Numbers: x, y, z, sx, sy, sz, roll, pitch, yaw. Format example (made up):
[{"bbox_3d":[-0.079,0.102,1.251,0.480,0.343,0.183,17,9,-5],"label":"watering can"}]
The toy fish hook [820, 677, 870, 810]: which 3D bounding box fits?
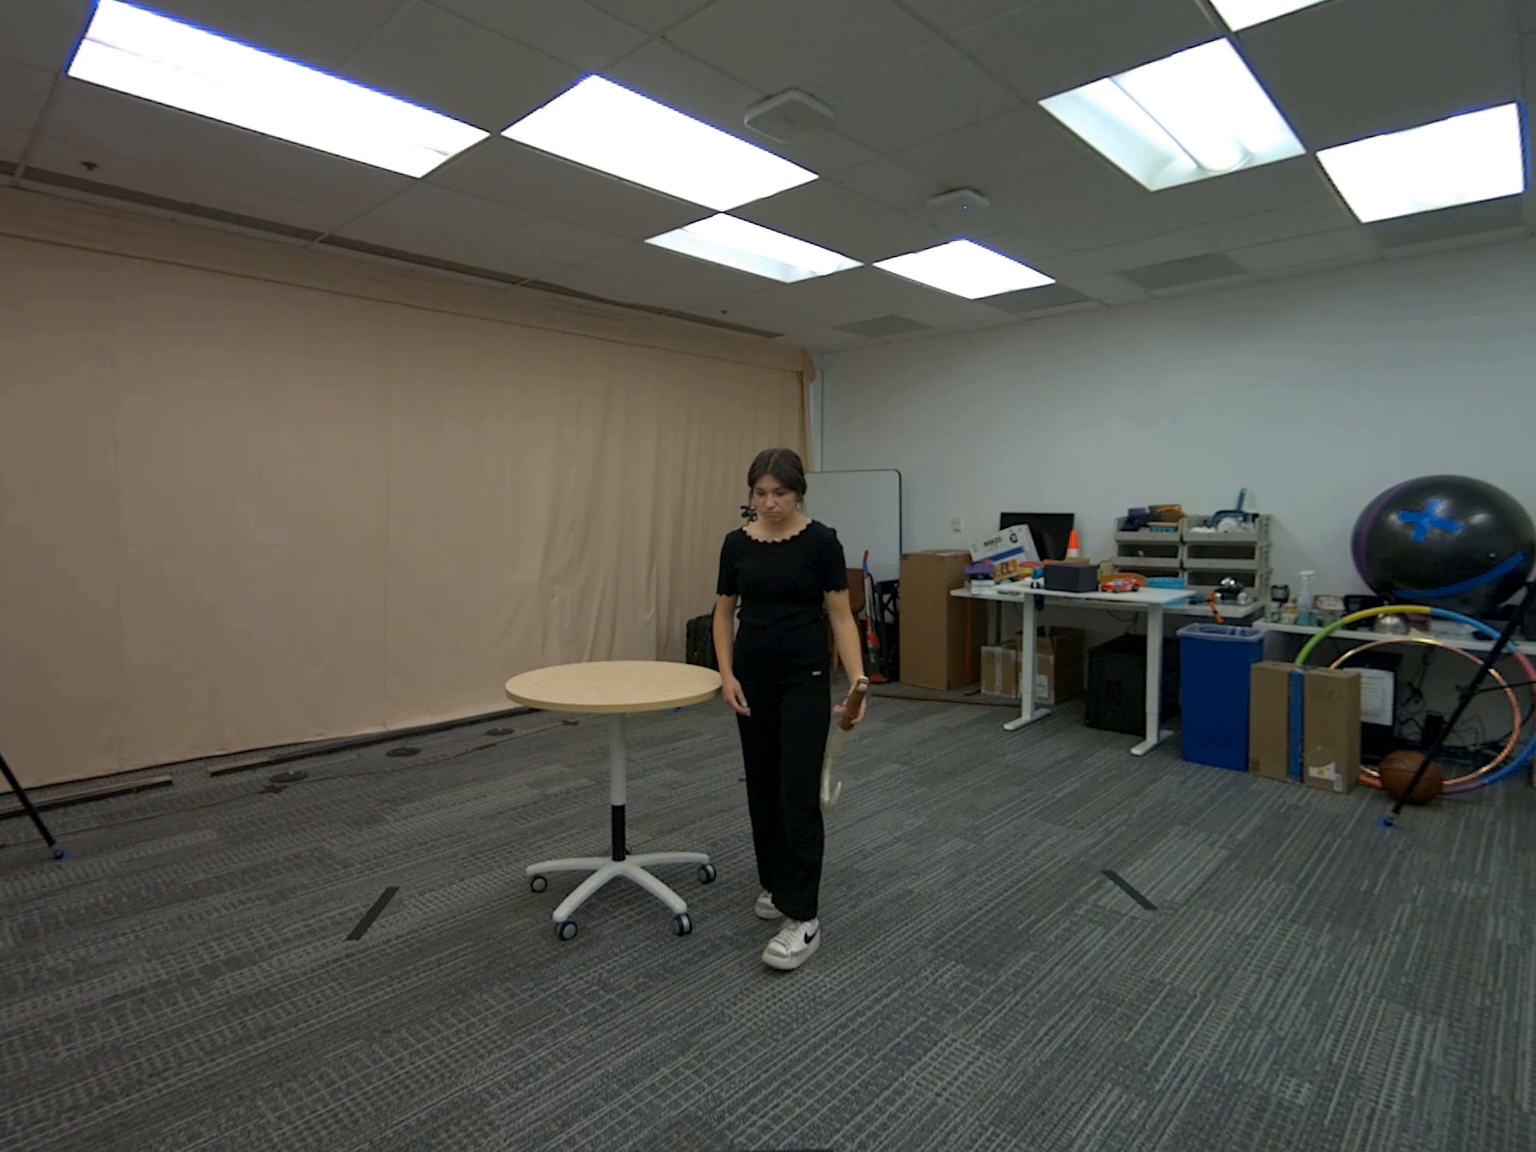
[{"bbox_3d":[0.240,0.526,2.565,0.048,0.501,0.230,4,33,-12],"label":"toy fish hook"}]
